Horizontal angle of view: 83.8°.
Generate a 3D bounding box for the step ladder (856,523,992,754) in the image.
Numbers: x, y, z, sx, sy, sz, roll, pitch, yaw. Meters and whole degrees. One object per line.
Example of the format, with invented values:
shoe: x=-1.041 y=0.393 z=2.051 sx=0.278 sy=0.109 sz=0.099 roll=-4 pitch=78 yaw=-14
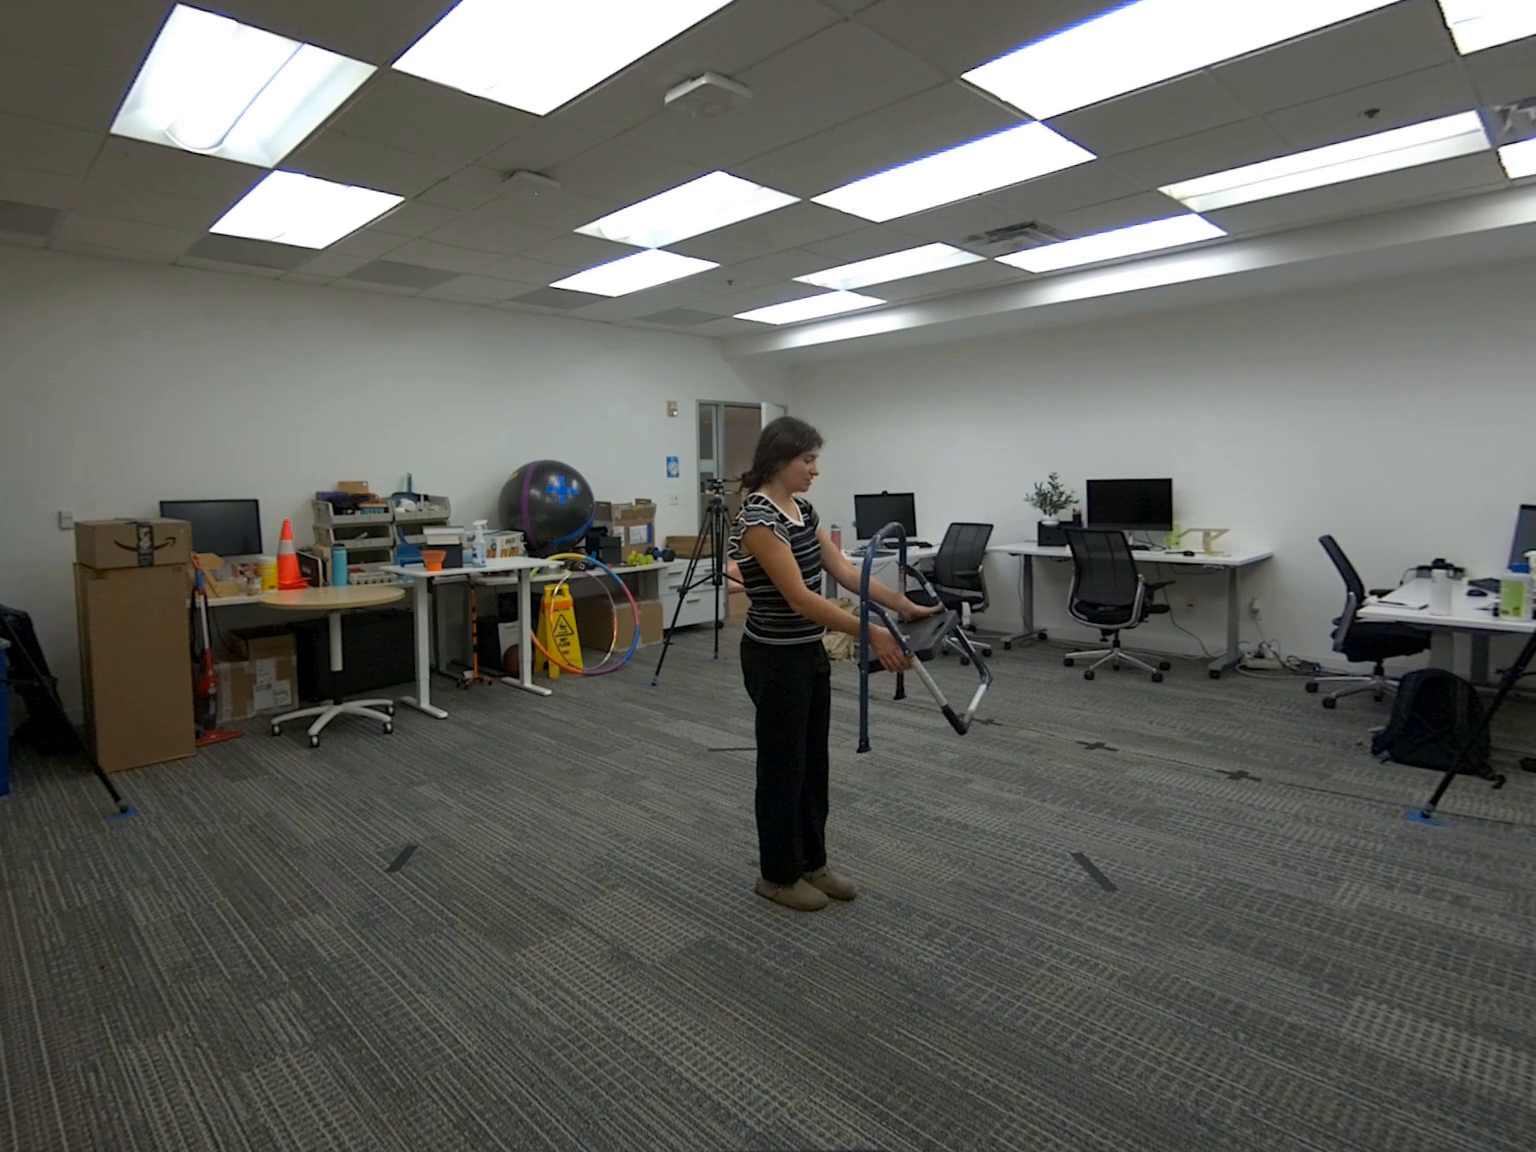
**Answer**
step ladder: x=0.398 y=0.157 z=2.656 sx=0.355 sy=0.602 sz=0.426 roll=-18 pitch=6 yaw=29
